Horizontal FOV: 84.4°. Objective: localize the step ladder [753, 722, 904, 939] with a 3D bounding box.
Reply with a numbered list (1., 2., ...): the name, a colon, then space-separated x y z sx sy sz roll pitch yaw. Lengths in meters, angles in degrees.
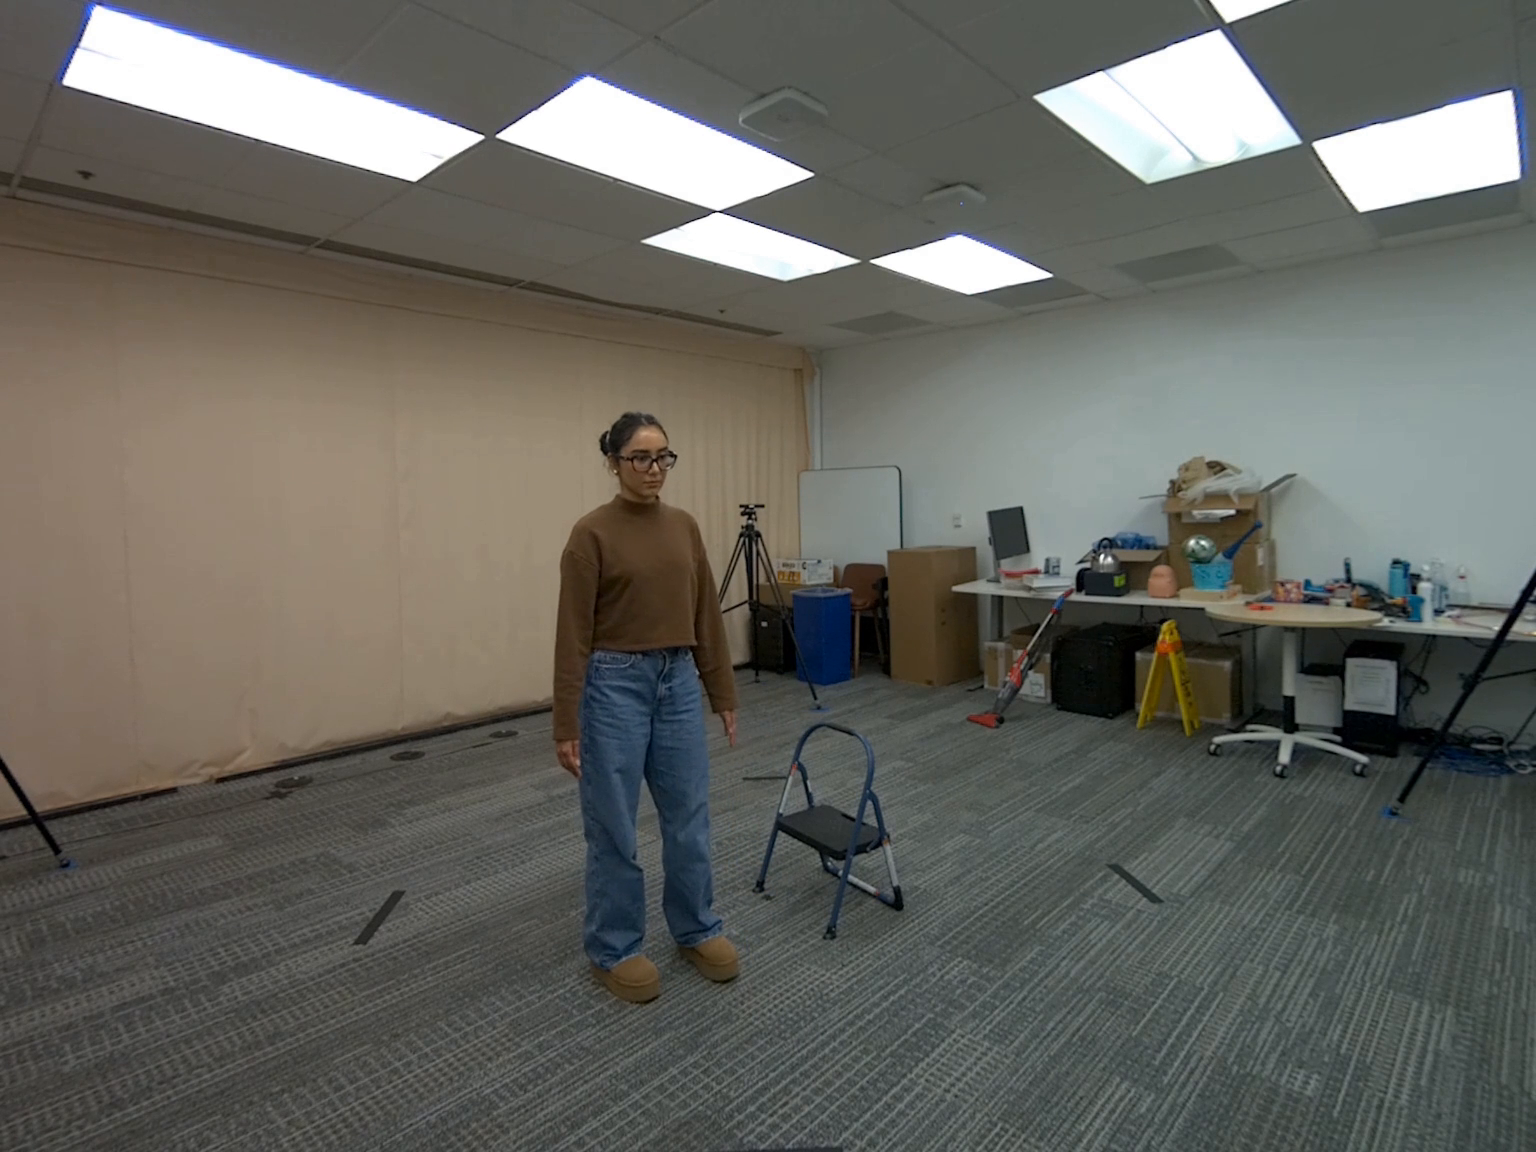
1. step ladder: 0.209 0.833 2.938 0.339 0.605 0.444 -3 4 -35
